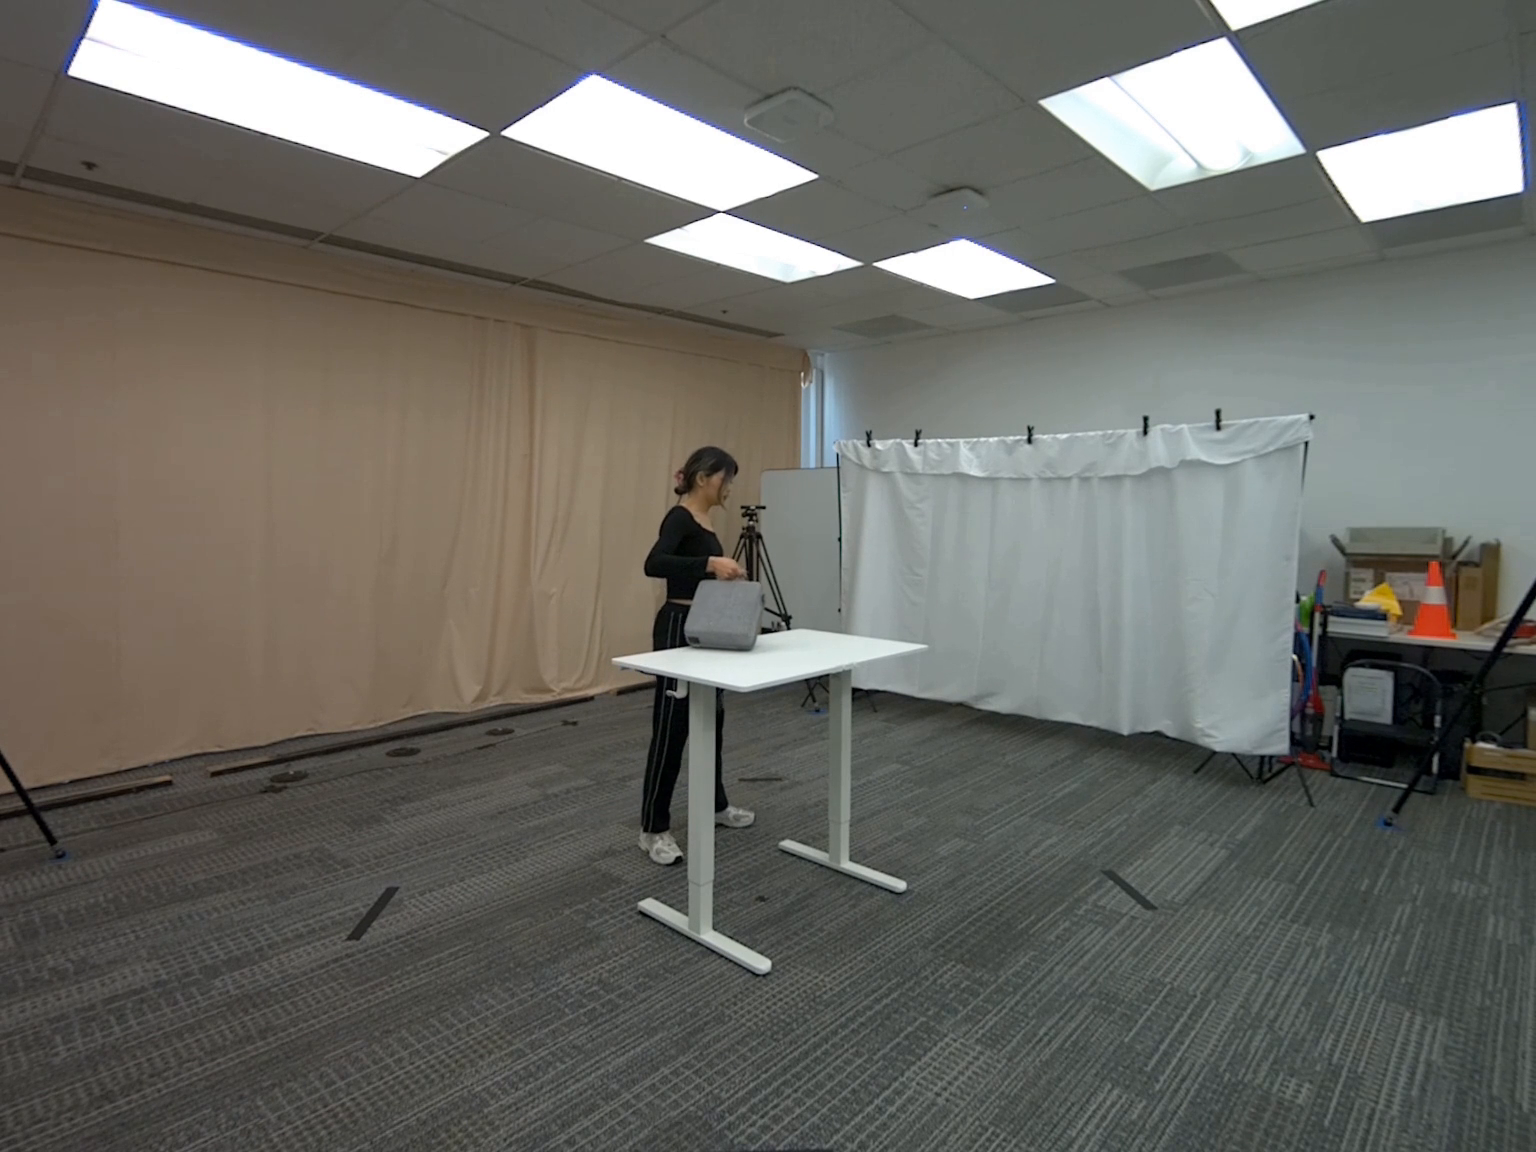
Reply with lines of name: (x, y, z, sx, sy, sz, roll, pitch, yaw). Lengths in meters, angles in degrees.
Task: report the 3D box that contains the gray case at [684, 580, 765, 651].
gray case: (-0.141, 0.138, 3.019, 0.262, 0.263, 0.101, 1, -37, 19)
